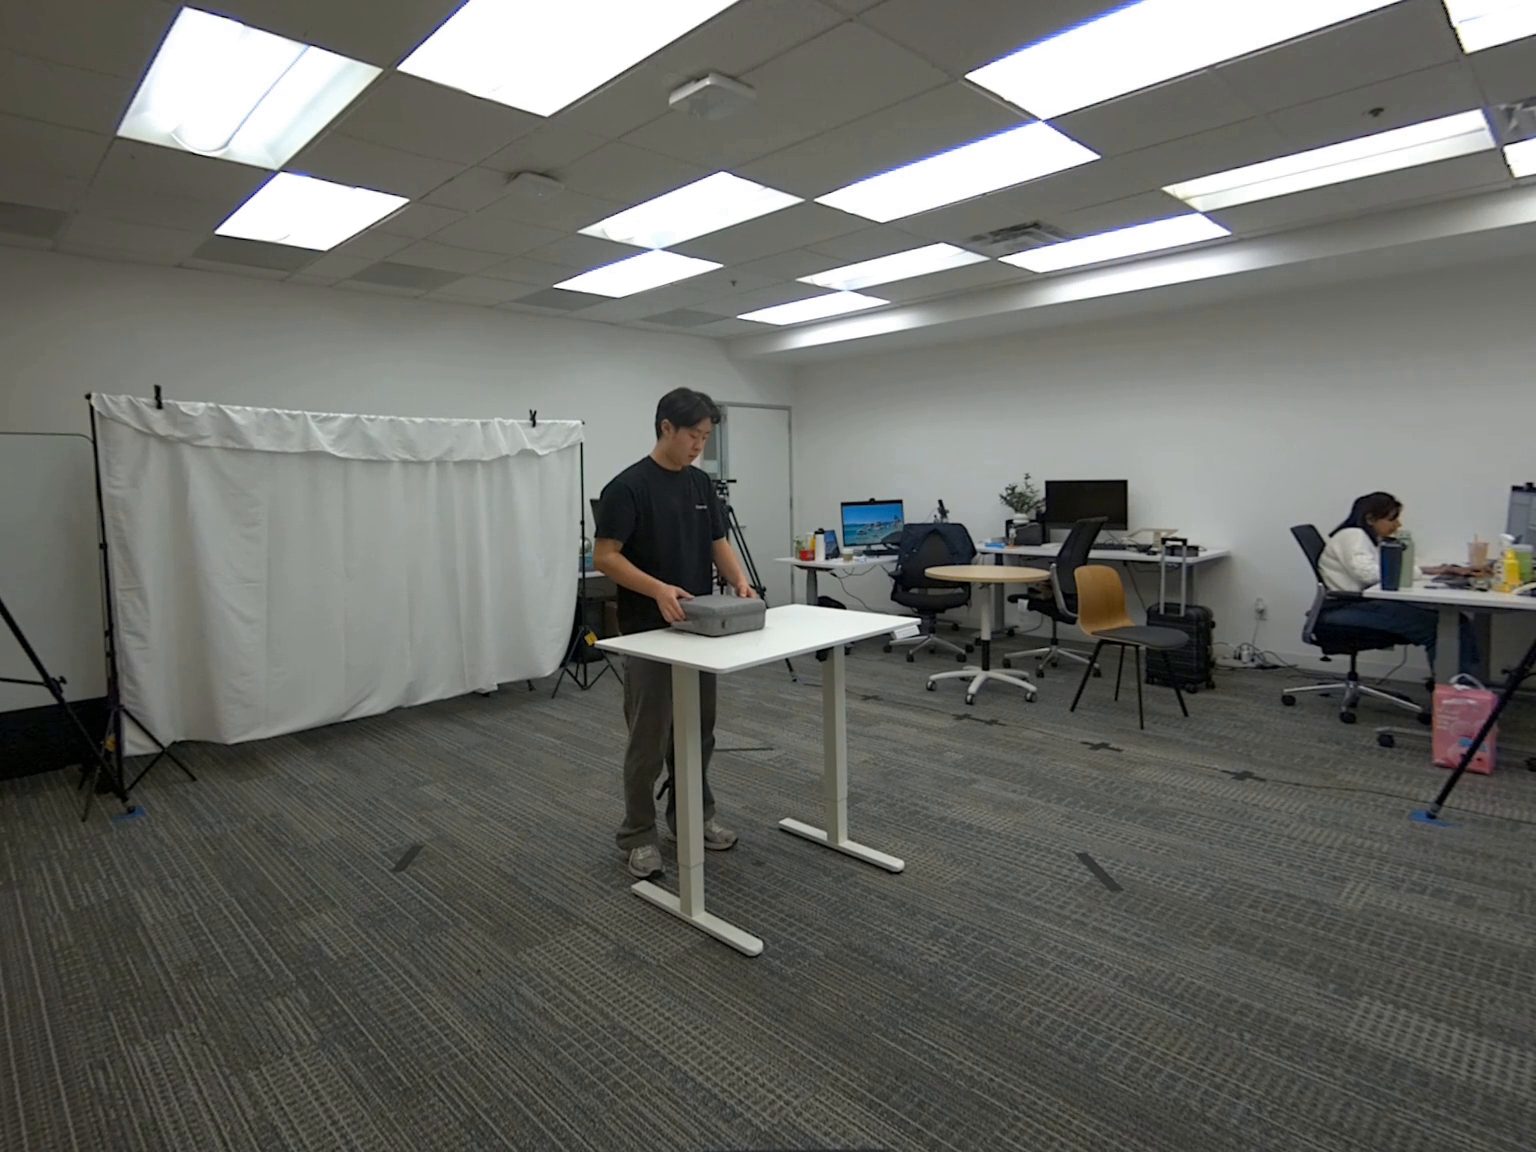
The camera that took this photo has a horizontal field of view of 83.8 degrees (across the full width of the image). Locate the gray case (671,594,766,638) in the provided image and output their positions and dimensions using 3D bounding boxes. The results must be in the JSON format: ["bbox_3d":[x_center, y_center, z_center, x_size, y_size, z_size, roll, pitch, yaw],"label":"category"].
[{"bbox_3d":[-0.169,0.136,2.938,0.265,0.104,0.254,6,9,43],"label":"gray case"}]
